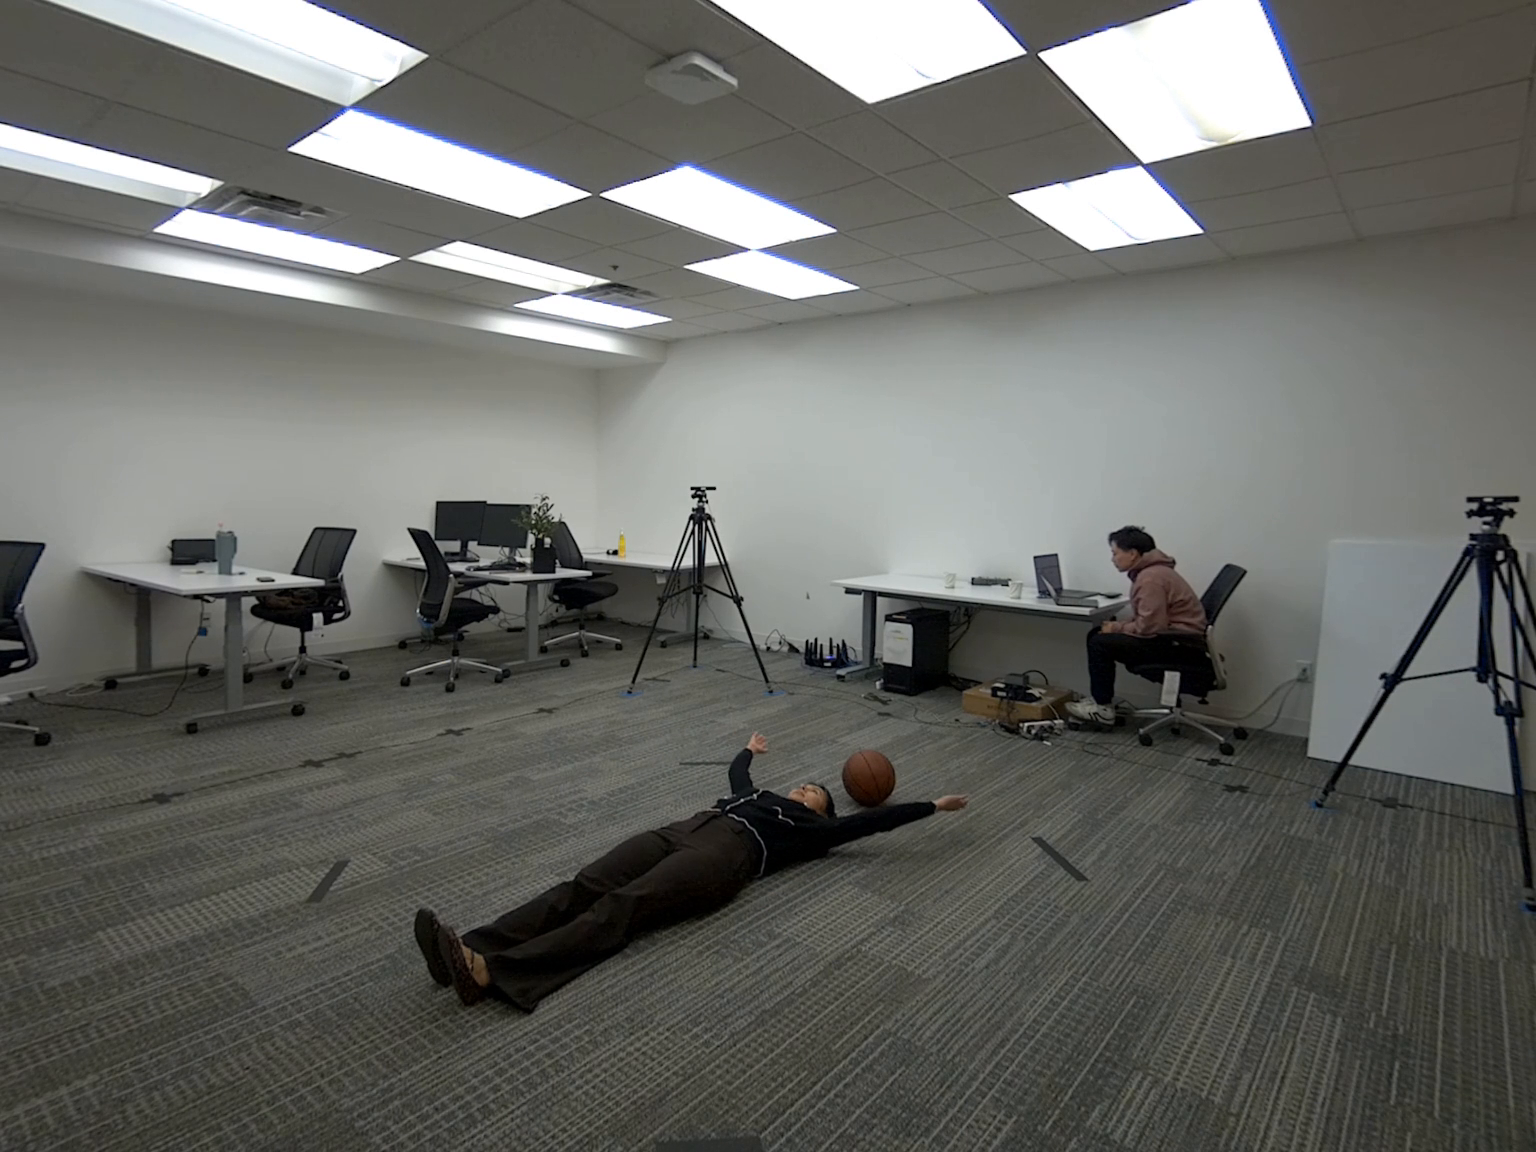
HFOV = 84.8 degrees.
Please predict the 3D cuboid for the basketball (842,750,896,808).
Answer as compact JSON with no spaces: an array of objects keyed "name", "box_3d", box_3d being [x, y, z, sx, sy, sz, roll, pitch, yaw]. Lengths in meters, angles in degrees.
[{"name":"basketball","box_3d":[0.442,0.889,3.787,0.236,0.235,0.237,1,4,-2]}]
